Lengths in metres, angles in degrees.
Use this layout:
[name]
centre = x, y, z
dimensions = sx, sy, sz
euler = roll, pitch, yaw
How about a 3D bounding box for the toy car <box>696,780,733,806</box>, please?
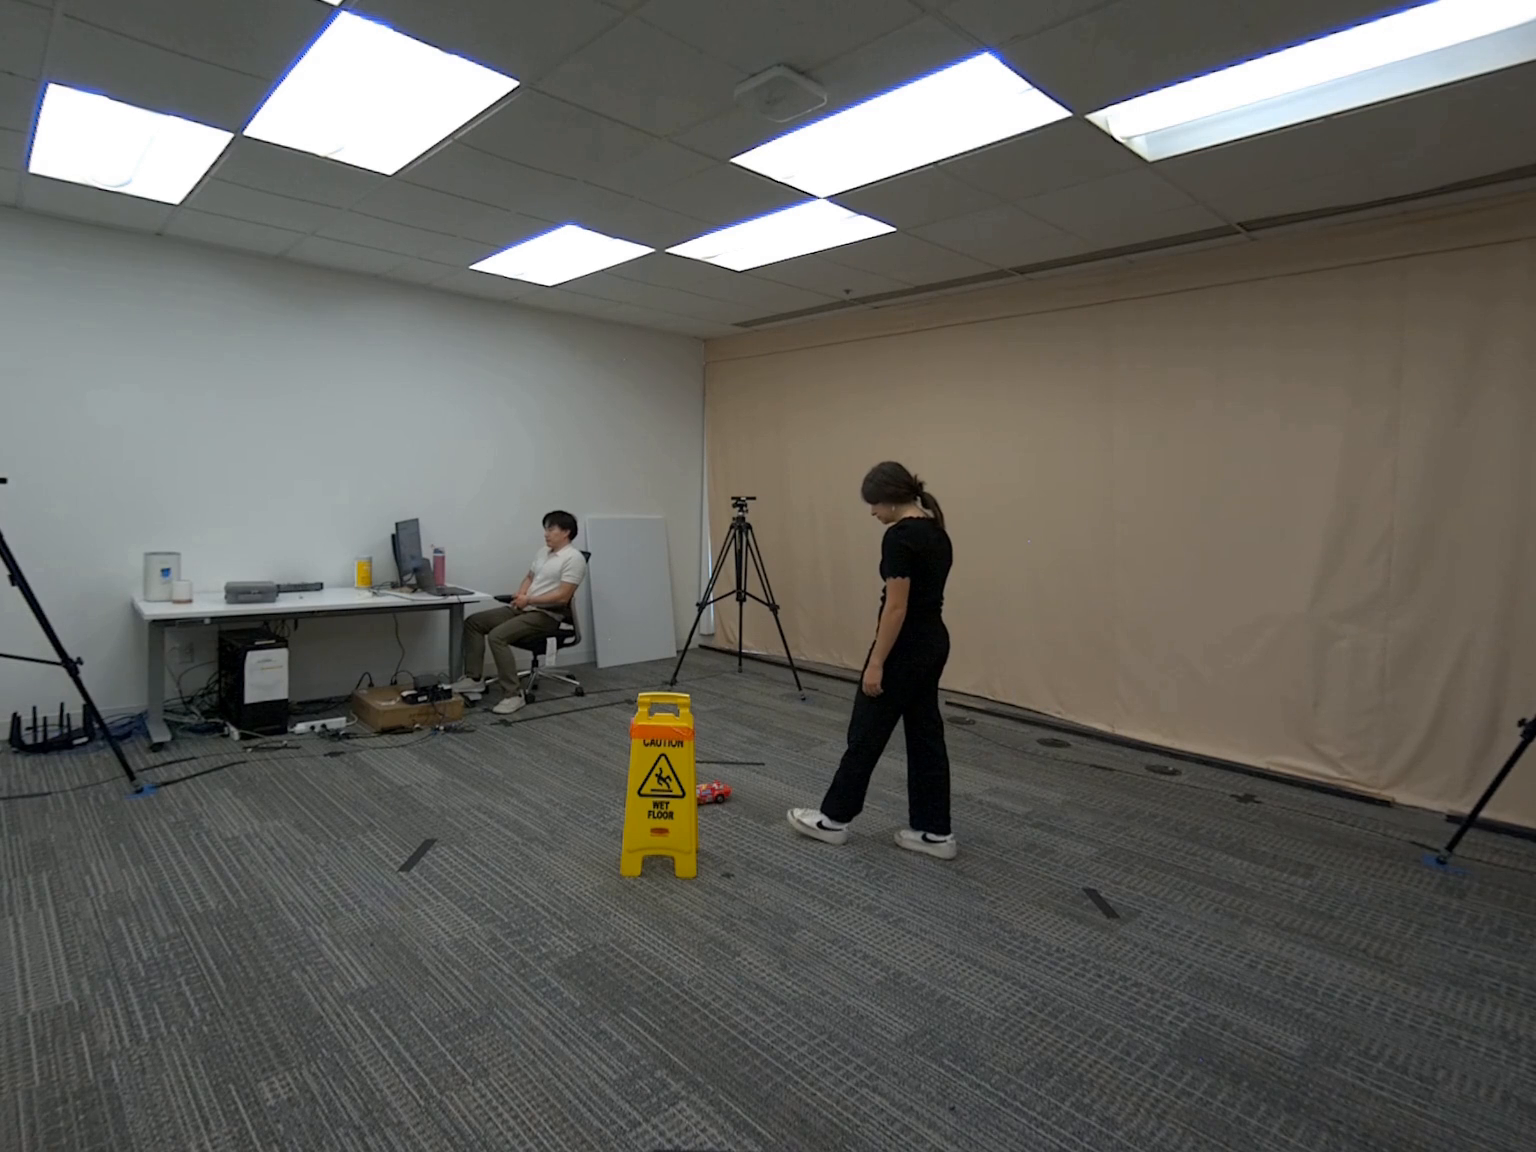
[toy car]
centre = -0.300, 1.002, 3.864
dimensions = 0.251, 0.082, 0.133
euler = -13, 11, -25
